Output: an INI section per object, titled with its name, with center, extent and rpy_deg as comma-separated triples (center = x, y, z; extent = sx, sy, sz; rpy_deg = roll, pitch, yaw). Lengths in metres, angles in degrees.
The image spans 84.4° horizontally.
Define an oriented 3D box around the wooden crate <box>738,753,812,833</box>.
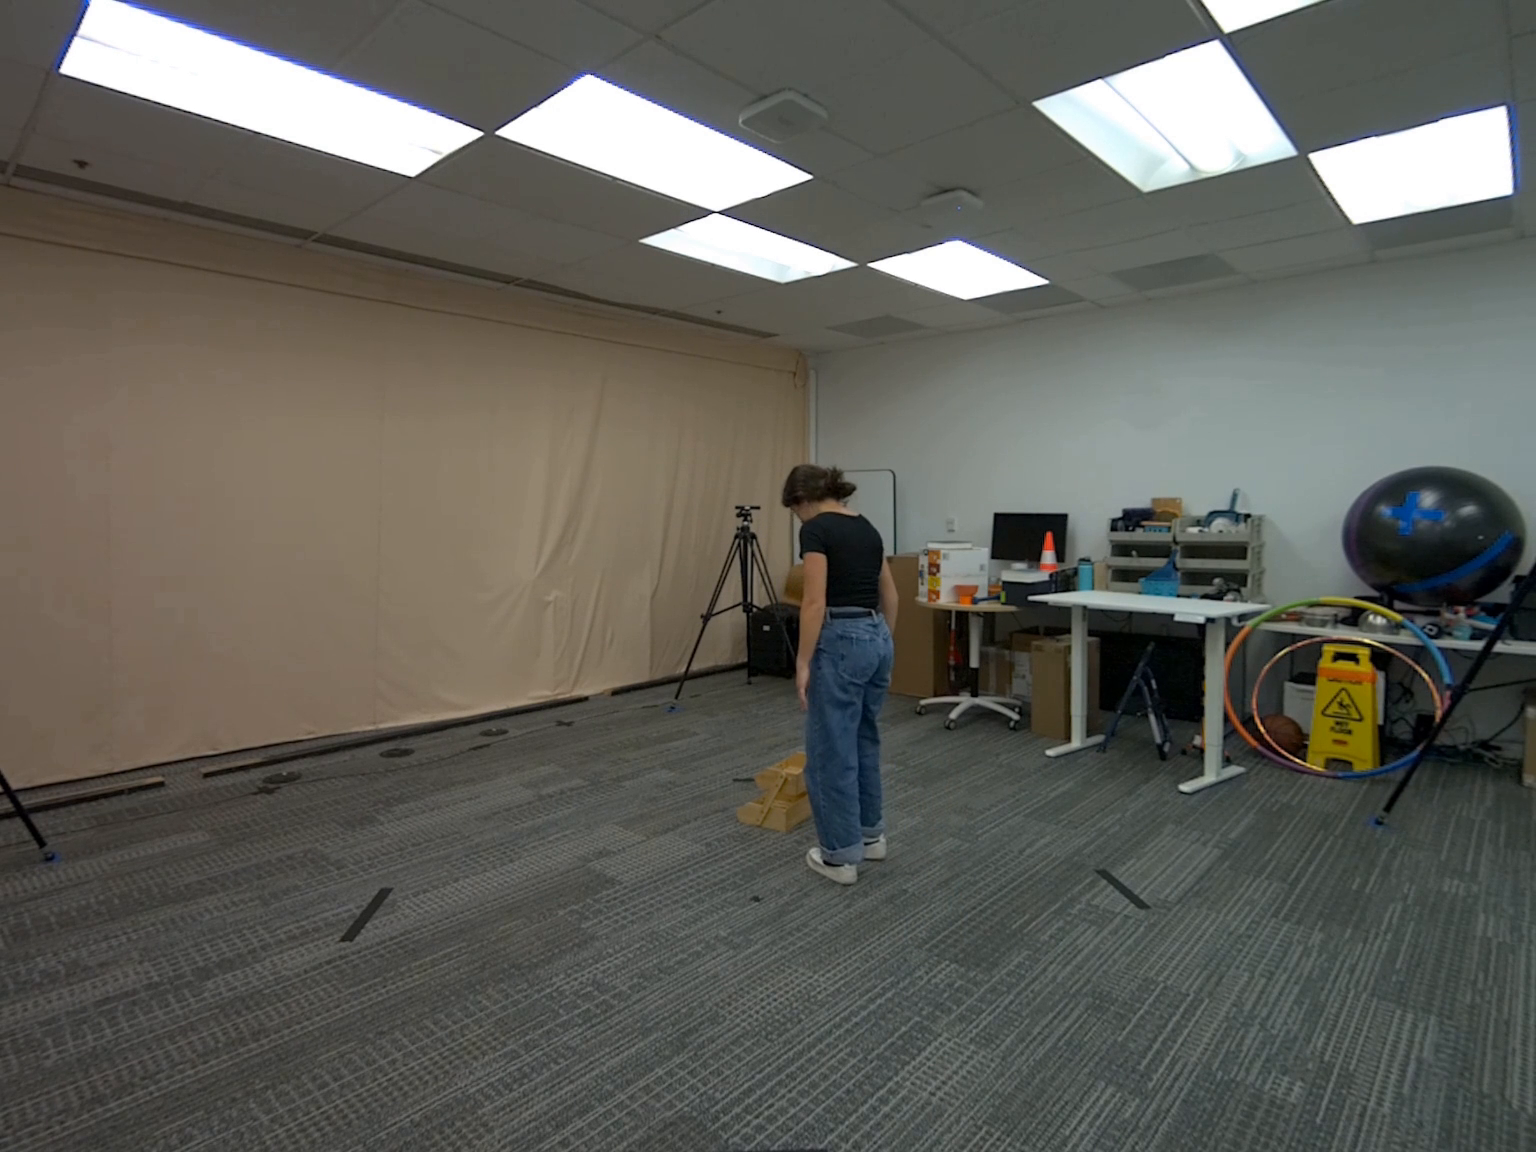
[wooden crate]
center = 0.059, 0.946, 3.767
extent = 0.311, 0.273, 0.316
rpy_deg = 2, 4, 30
